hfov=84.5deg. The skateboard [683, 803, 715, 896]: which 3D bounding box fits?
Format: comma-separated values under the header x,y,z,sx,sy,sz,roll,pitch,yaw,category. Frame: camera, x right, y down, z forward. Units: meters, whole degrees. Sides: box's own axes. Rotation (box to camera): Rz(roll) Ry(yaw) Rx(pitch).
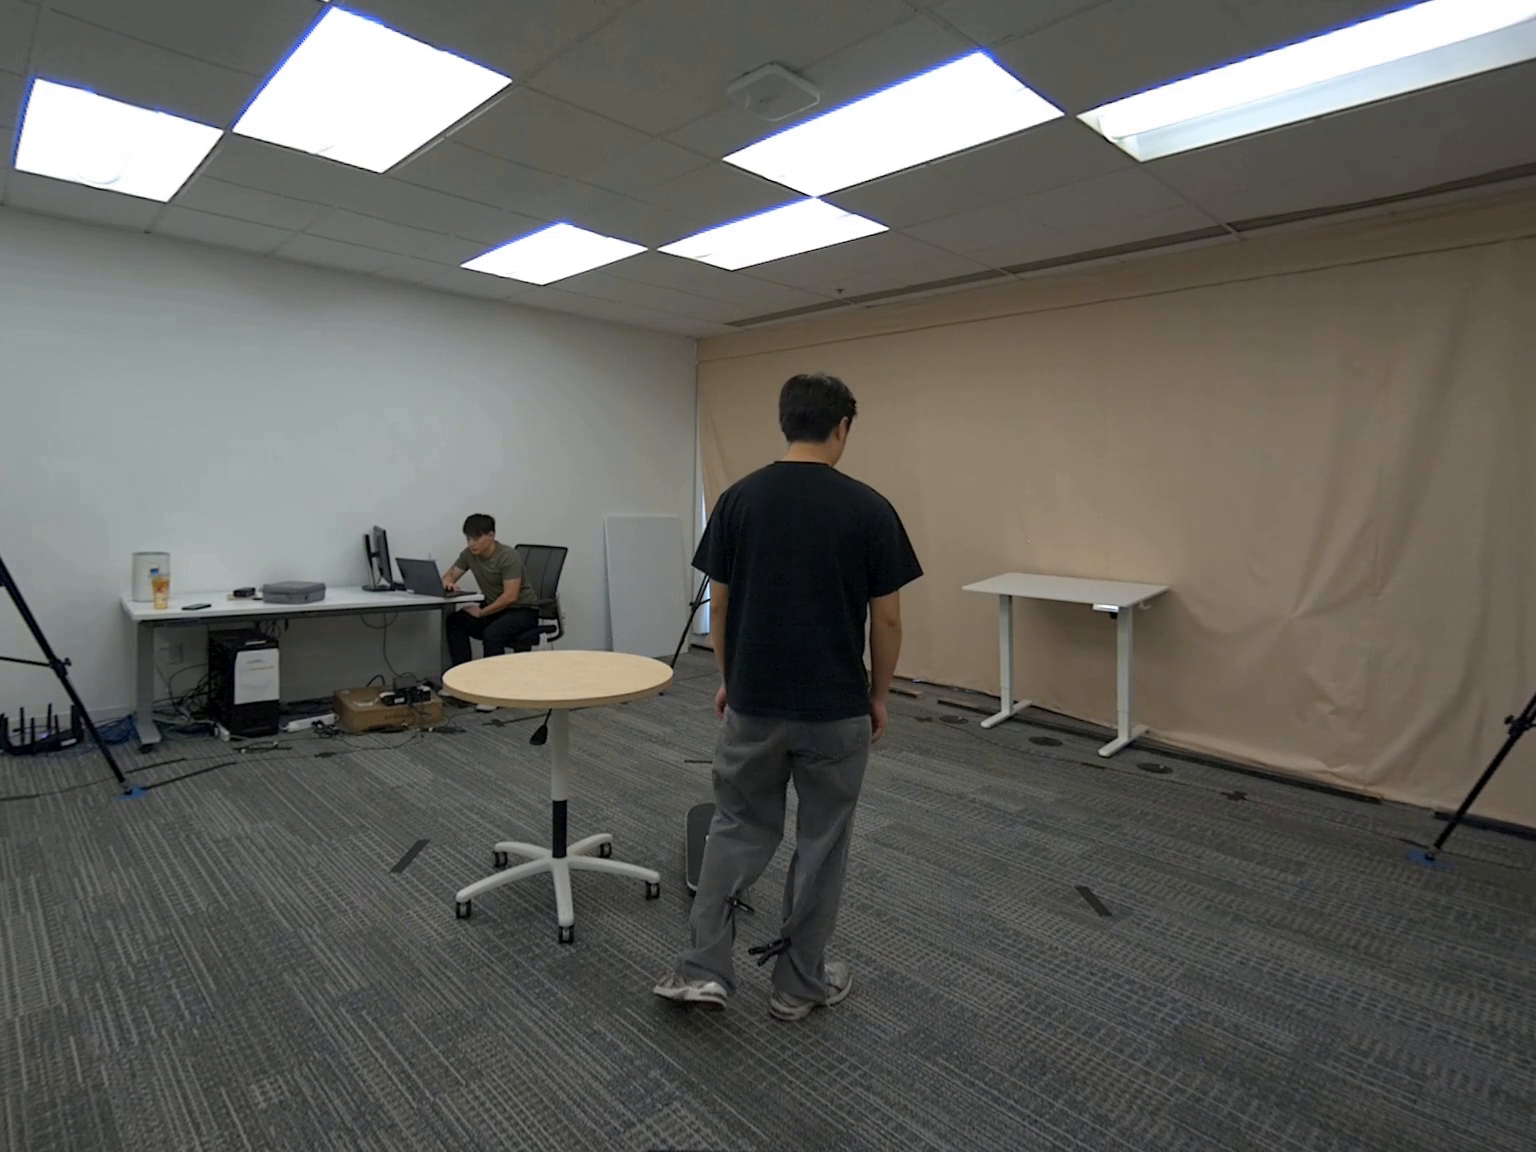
x,y,z,sx,sy,sz,roll,pitch,yaw,category
-0.215,1.043,3.144,0.192,0.110,0.791,1,6,-6,skateboard
